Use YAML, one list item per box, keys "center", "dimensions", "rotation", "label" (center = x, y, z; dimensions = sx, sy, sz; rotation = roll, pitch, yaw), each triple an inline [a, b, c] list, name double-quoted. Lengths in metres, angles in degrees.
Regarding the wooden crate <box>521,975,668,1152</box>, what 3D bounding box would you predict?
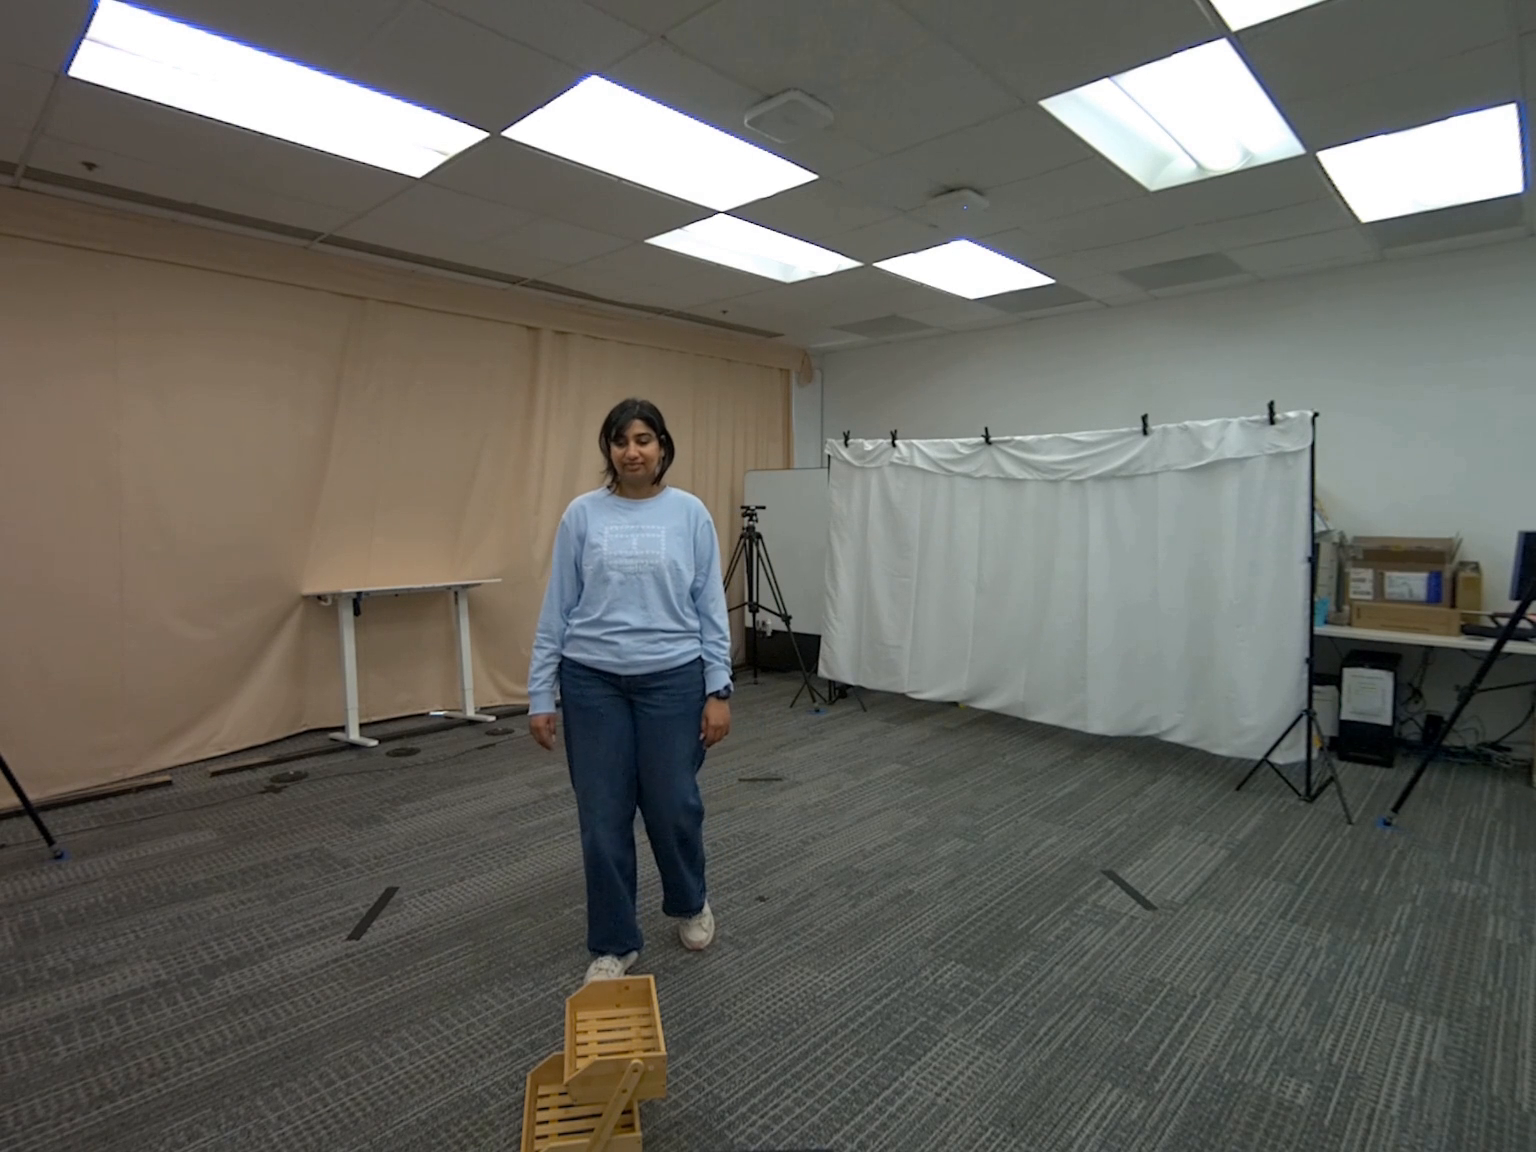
- center: [-0.397, 1.104, 1.867]
  dimensions: [0.299, 0.273, 0.329]
  rotation: [0, 4, -11]
  label: "wooden crate"
